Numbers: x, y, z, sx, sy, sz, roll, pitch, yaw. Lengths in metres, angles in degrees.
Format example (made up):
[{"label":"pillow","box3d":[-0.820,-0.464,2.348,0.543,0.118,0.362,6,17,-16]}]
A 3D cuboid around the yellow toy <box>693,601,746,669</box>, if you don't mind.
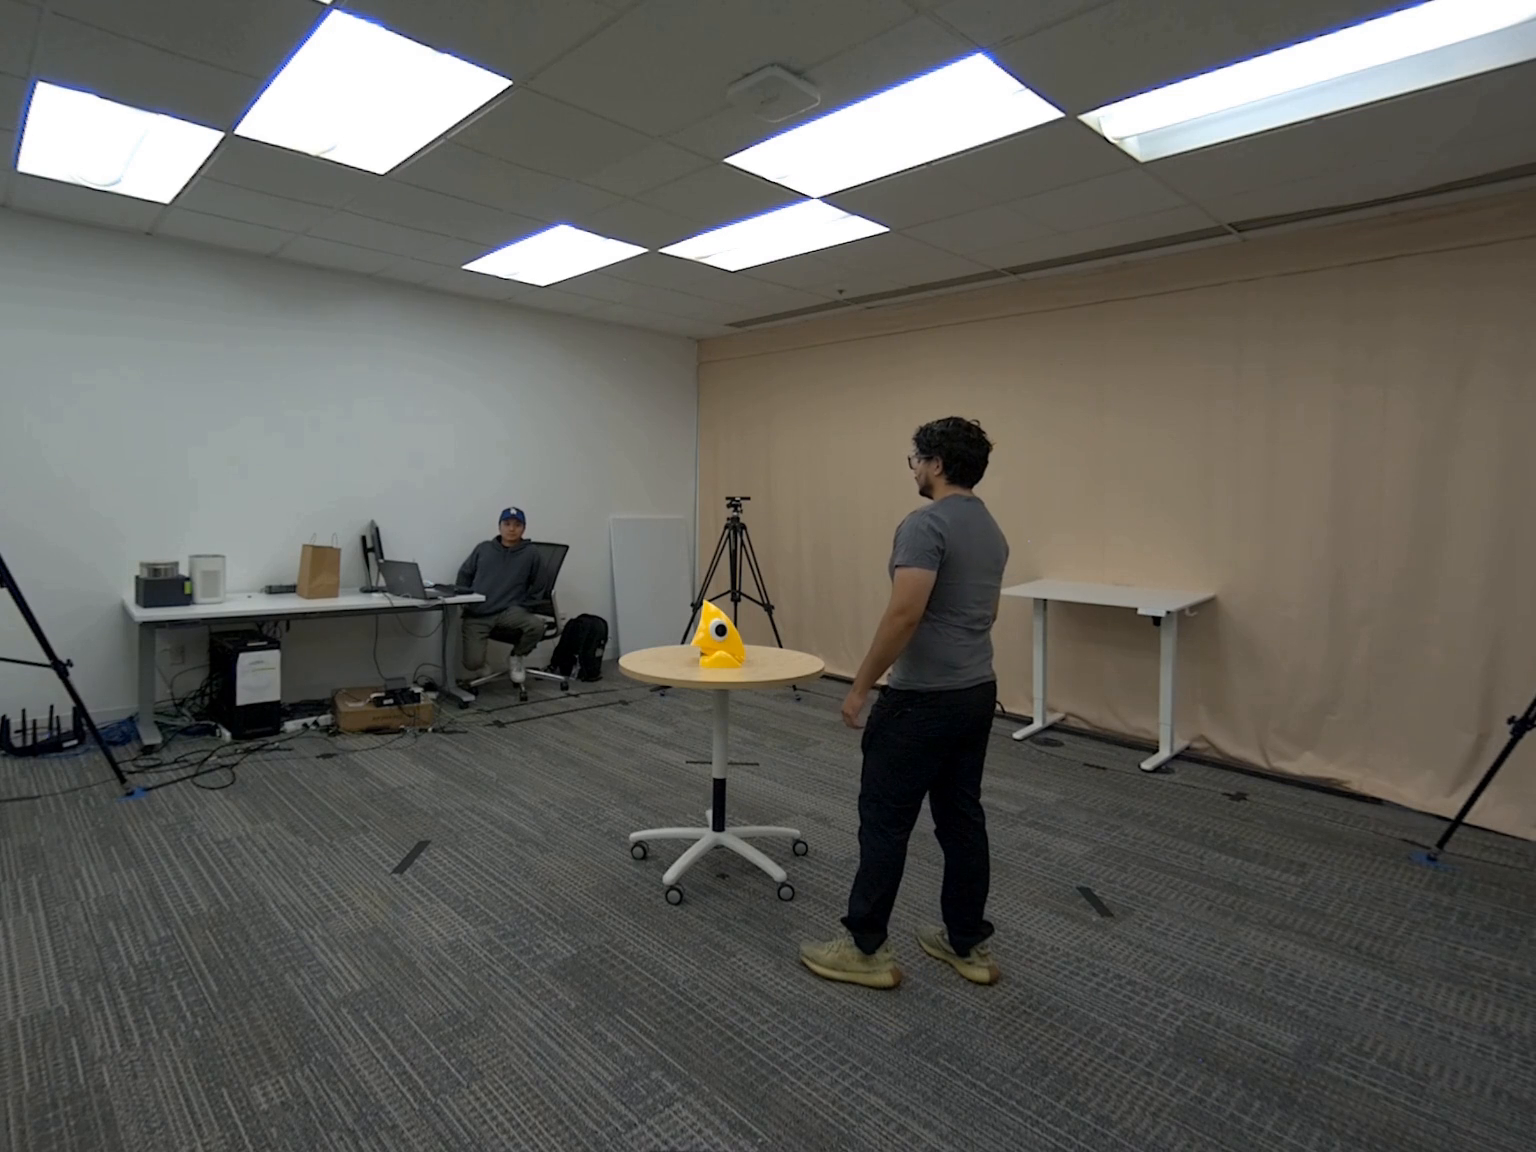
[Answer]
[{"label":"yellow toy","box3d":[-0.185,0.206,3.100,0.194,0.230,0.204,2,4,5]}]
